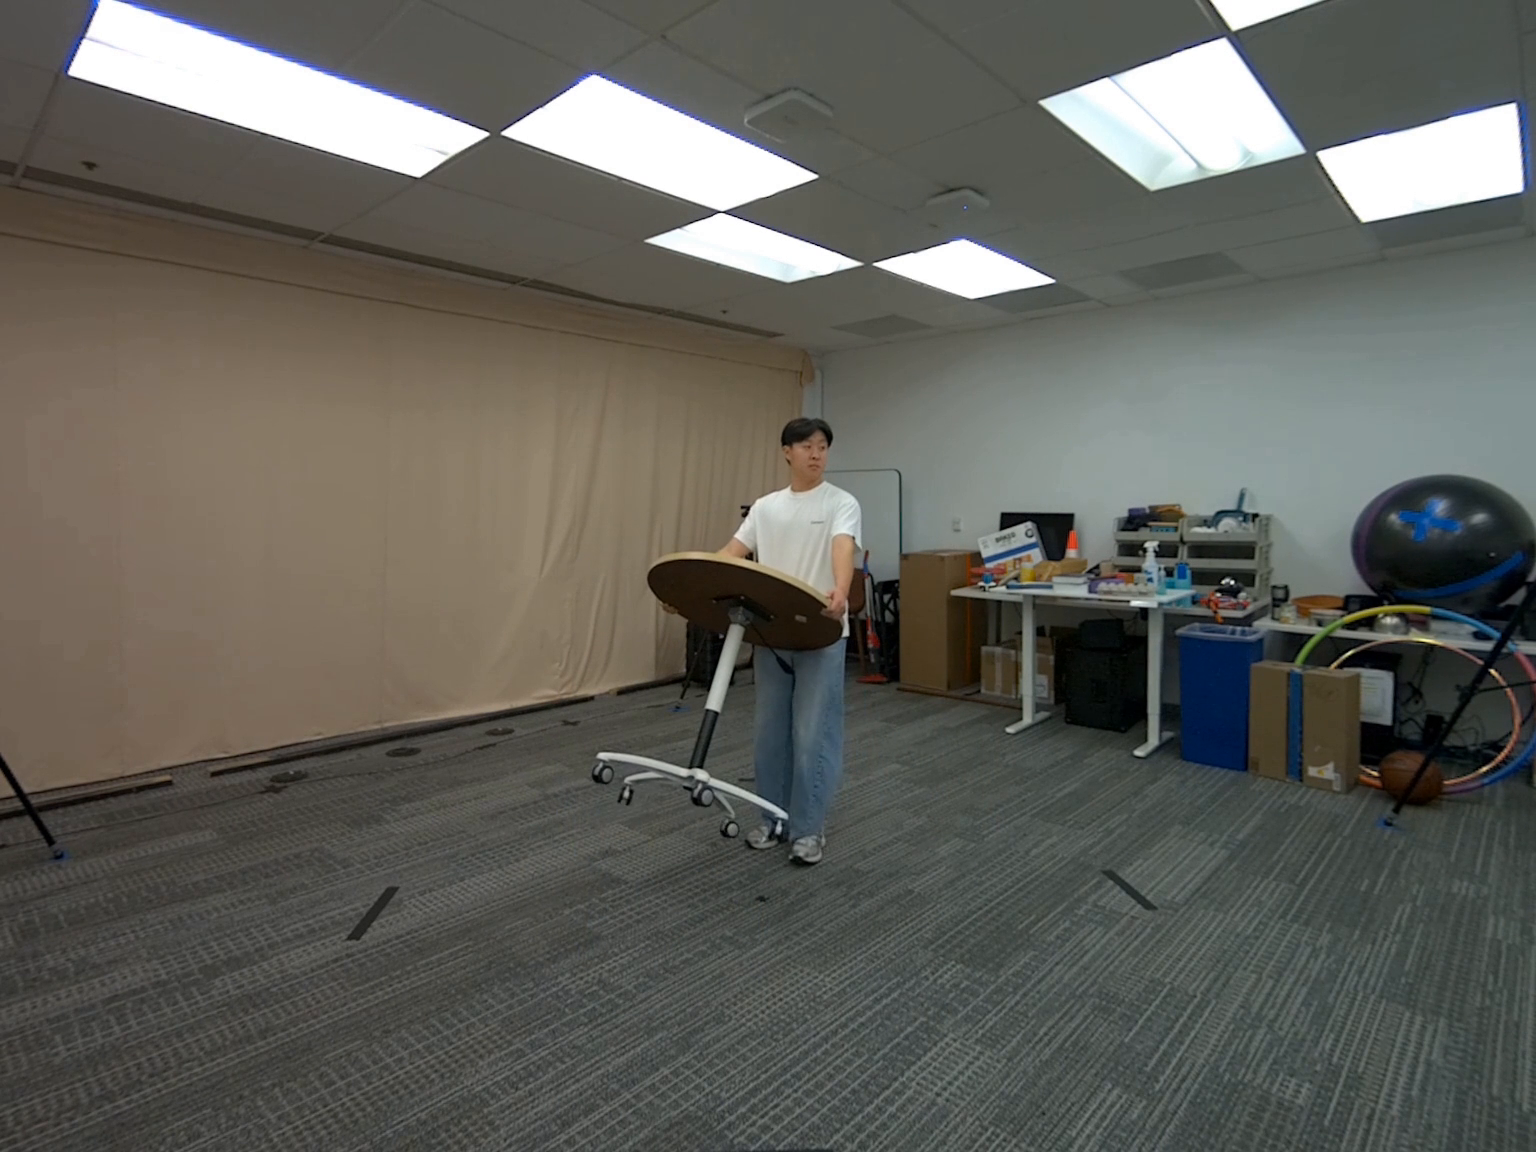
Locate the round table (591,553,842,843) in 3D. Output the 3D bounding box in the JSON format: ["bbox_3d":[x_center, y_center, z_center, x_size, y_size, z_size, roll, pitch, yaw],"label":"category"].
[{"bbox_3d":[-0.181,0.461,3.026,0.769,0.798,0.754,15,-23,5],"label":"round table"}]
